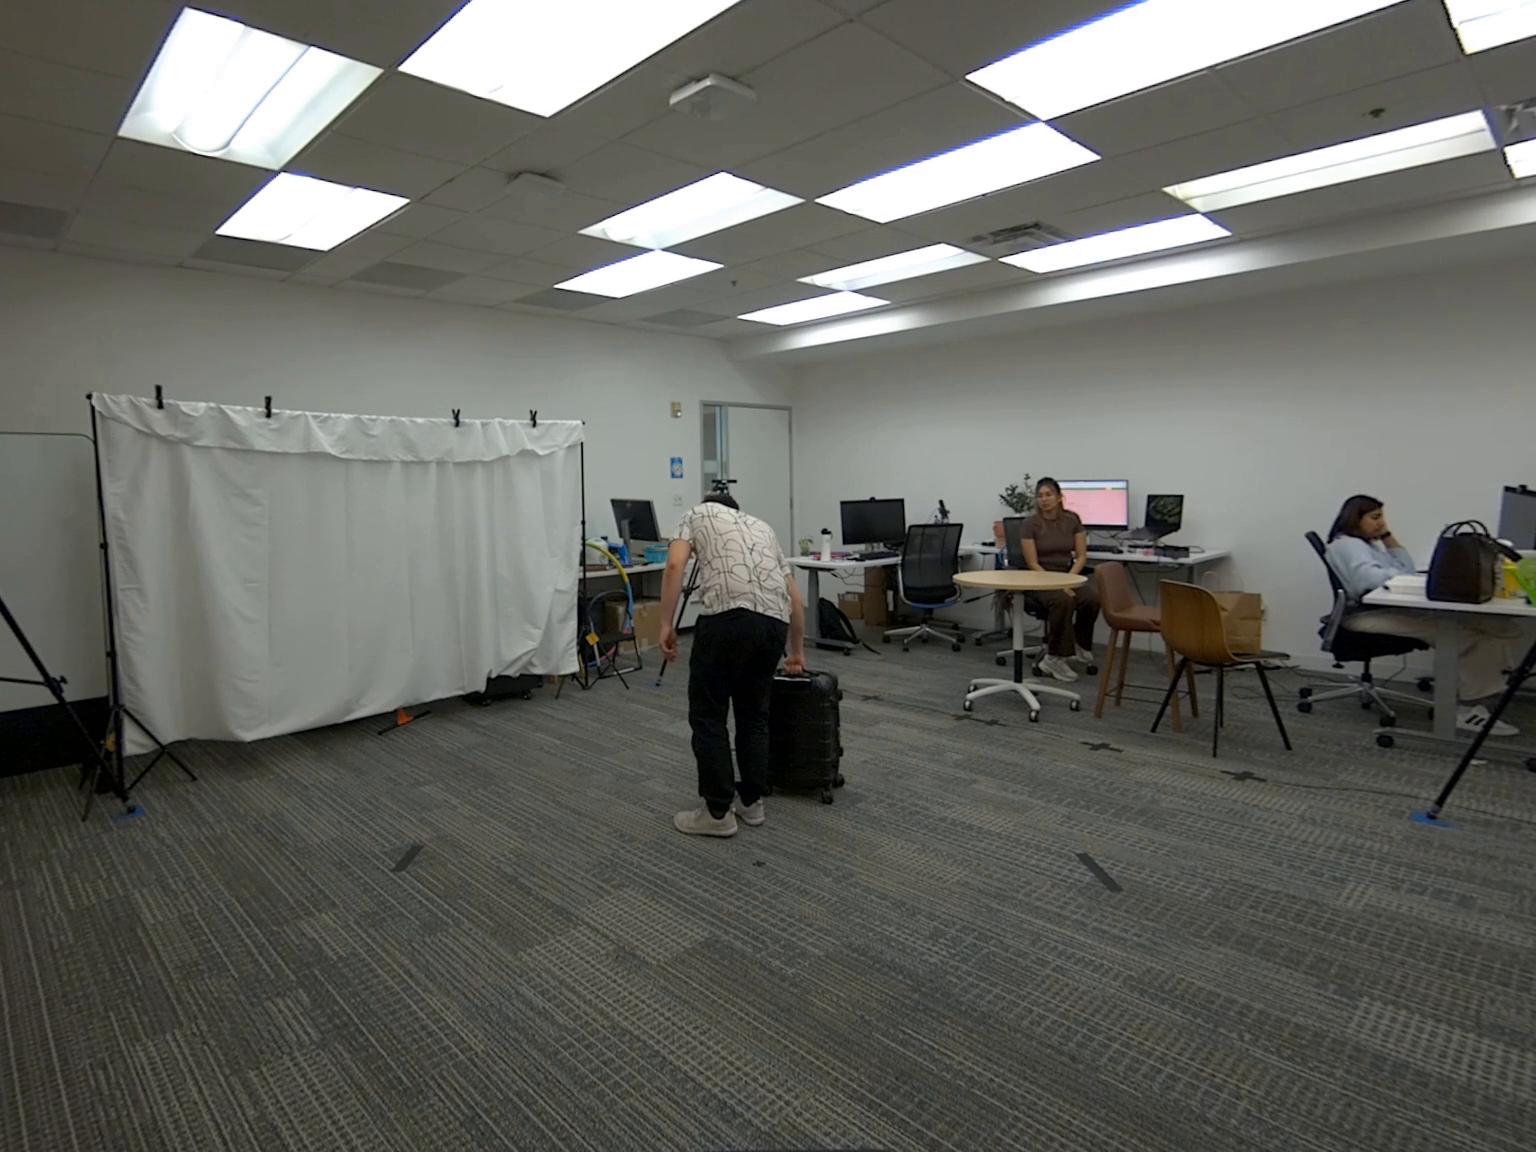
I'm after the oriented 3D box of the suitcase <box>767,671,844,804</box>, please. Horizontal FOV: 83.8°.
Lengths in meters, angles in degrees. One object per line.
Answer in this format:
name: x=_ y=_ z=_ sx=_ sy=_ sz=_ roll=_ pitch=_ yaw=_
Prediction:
suitcase: x=0.137 y=0.688 z=3.833 sx=0.382 sy=0.548 sz=0.245 roll=0 pitch=3 yaw=18
